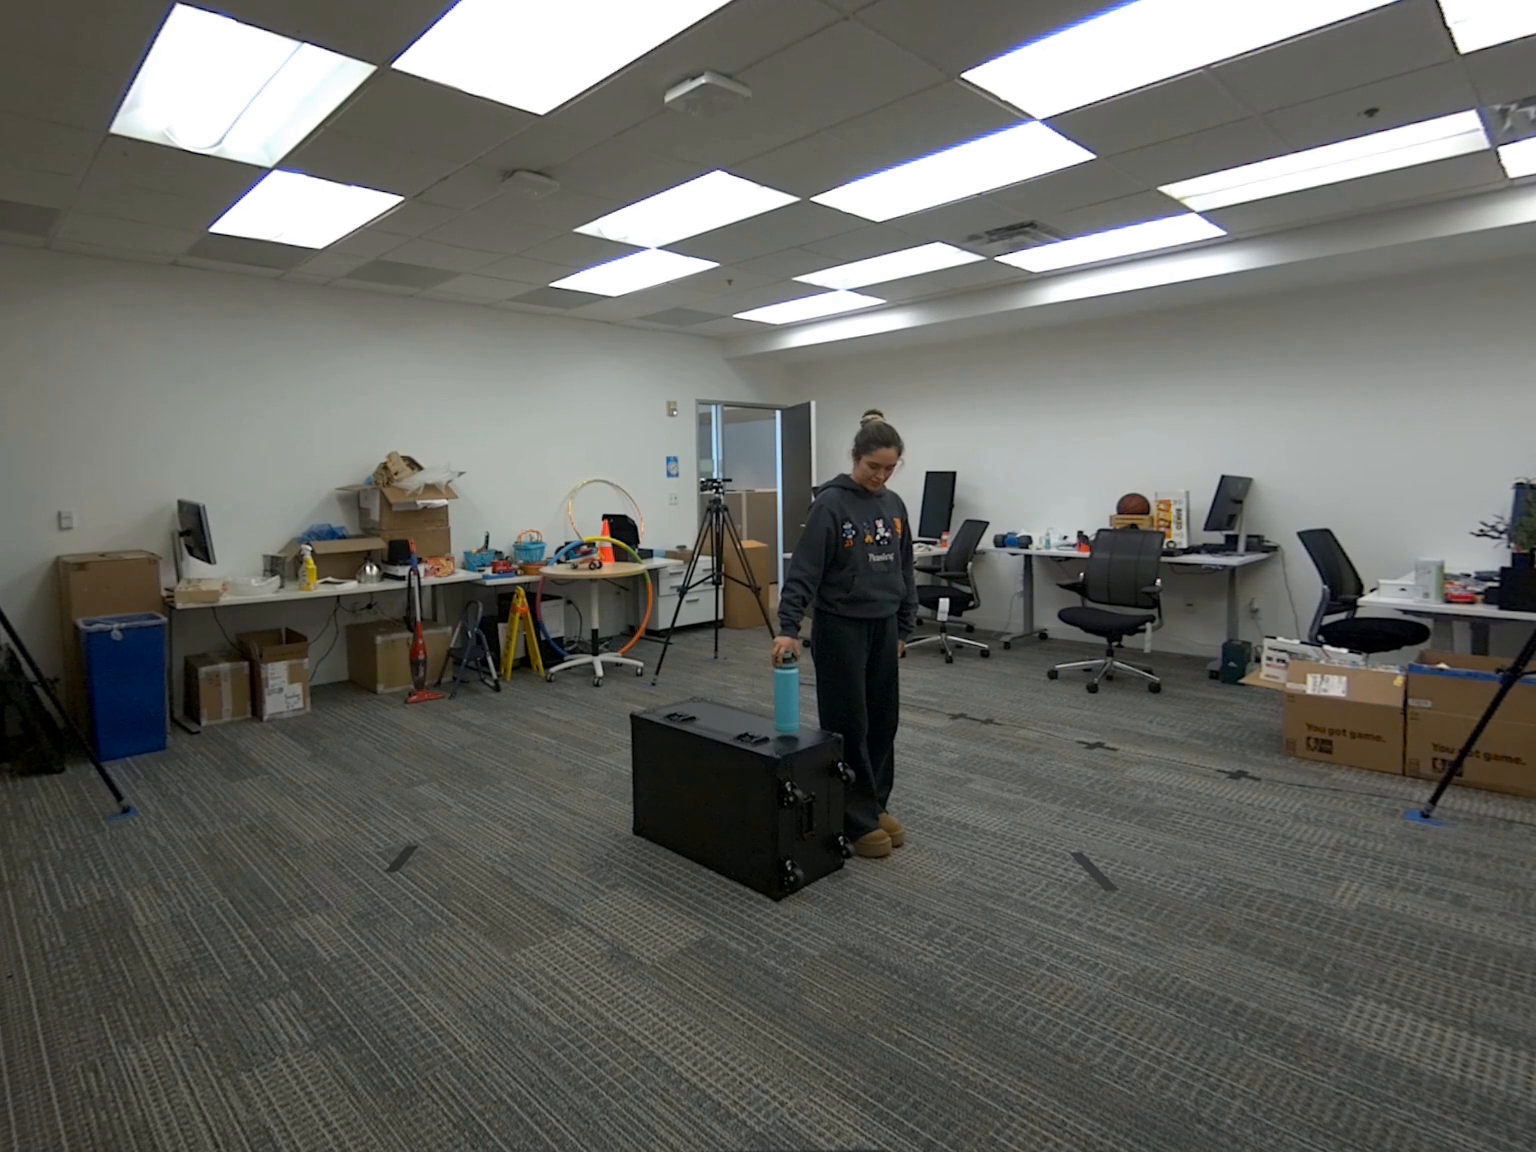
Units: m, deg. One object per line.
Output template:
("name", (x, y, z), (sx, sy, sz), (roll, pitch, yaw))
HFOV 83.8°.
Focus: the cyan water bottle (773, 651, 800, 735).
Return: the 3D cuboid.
("cyan water bottle", (0.068, 0.411, 3.016), (0.092, 0.282, 0.093), (-1, 3, -2))
